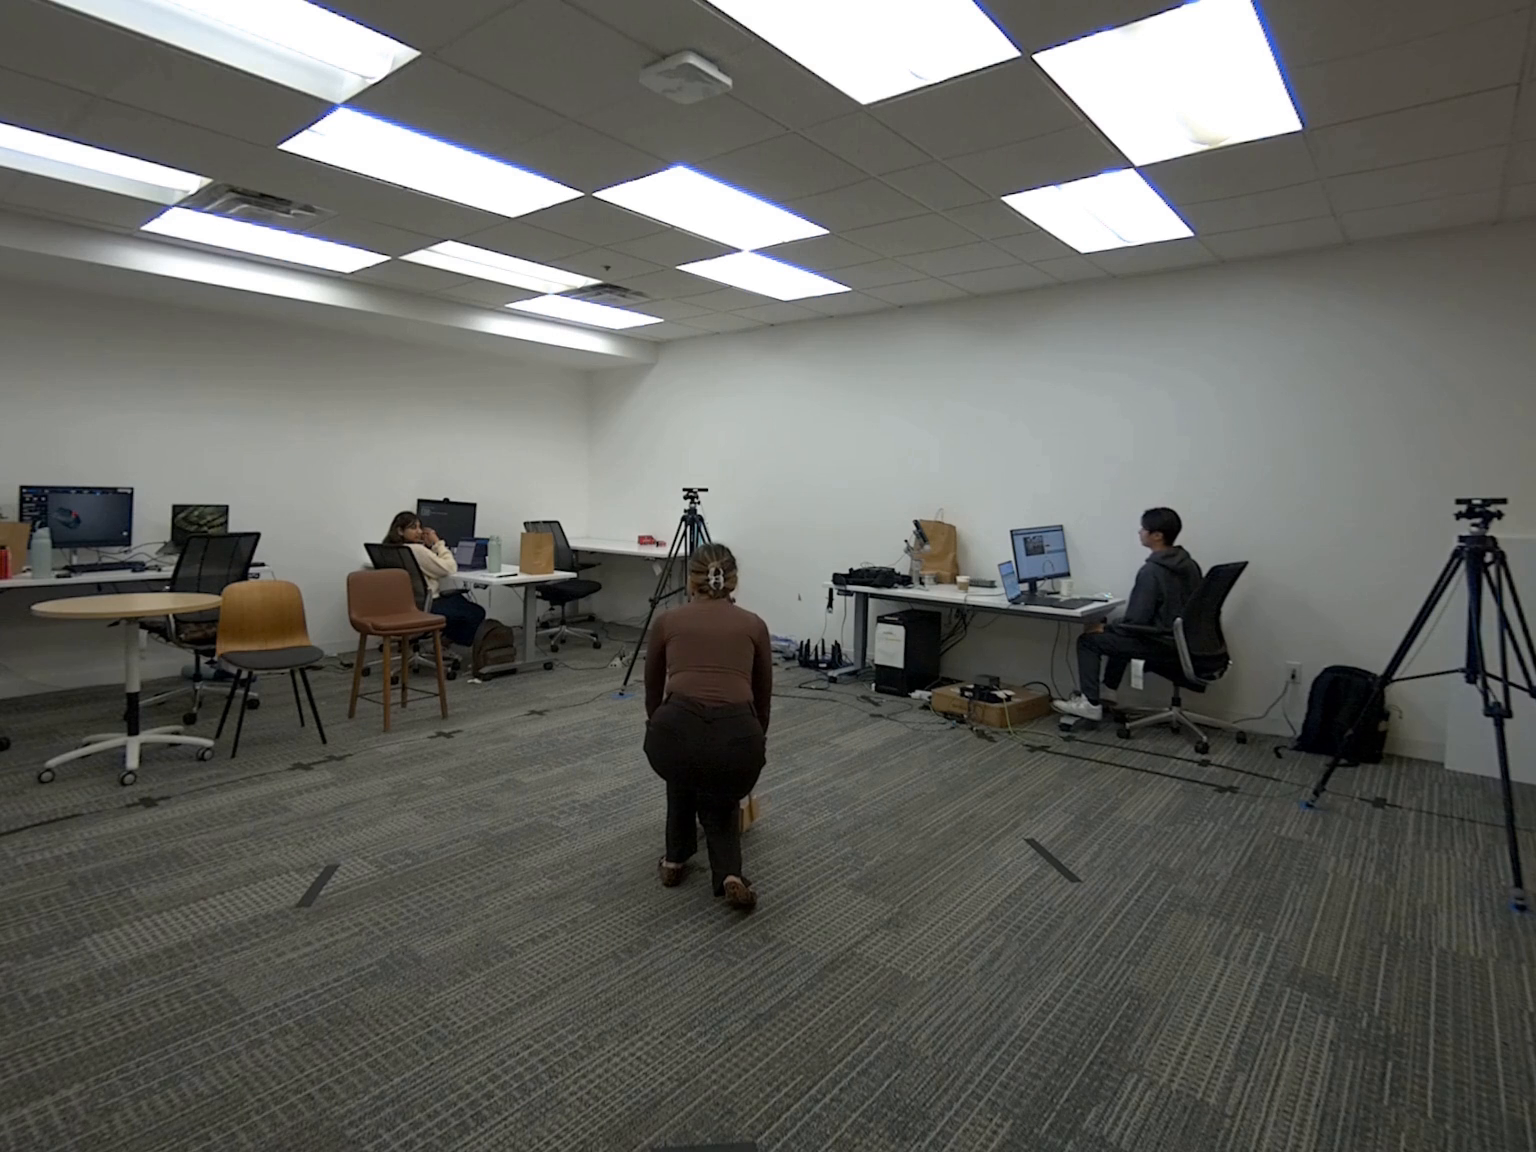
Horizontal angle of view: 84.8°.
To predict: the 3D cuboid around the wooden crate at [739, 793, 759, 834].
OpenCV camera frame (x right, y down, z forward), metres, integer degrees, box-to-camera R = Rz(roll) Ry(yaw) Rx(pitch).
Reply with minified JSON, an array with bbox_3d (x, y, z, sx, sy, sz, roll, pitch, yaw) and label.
[{"bbox_3d":[-0.218,0.843,3.432,0.330,0.274,0.296,1,-1,16],"label":"wooden crate"}]
